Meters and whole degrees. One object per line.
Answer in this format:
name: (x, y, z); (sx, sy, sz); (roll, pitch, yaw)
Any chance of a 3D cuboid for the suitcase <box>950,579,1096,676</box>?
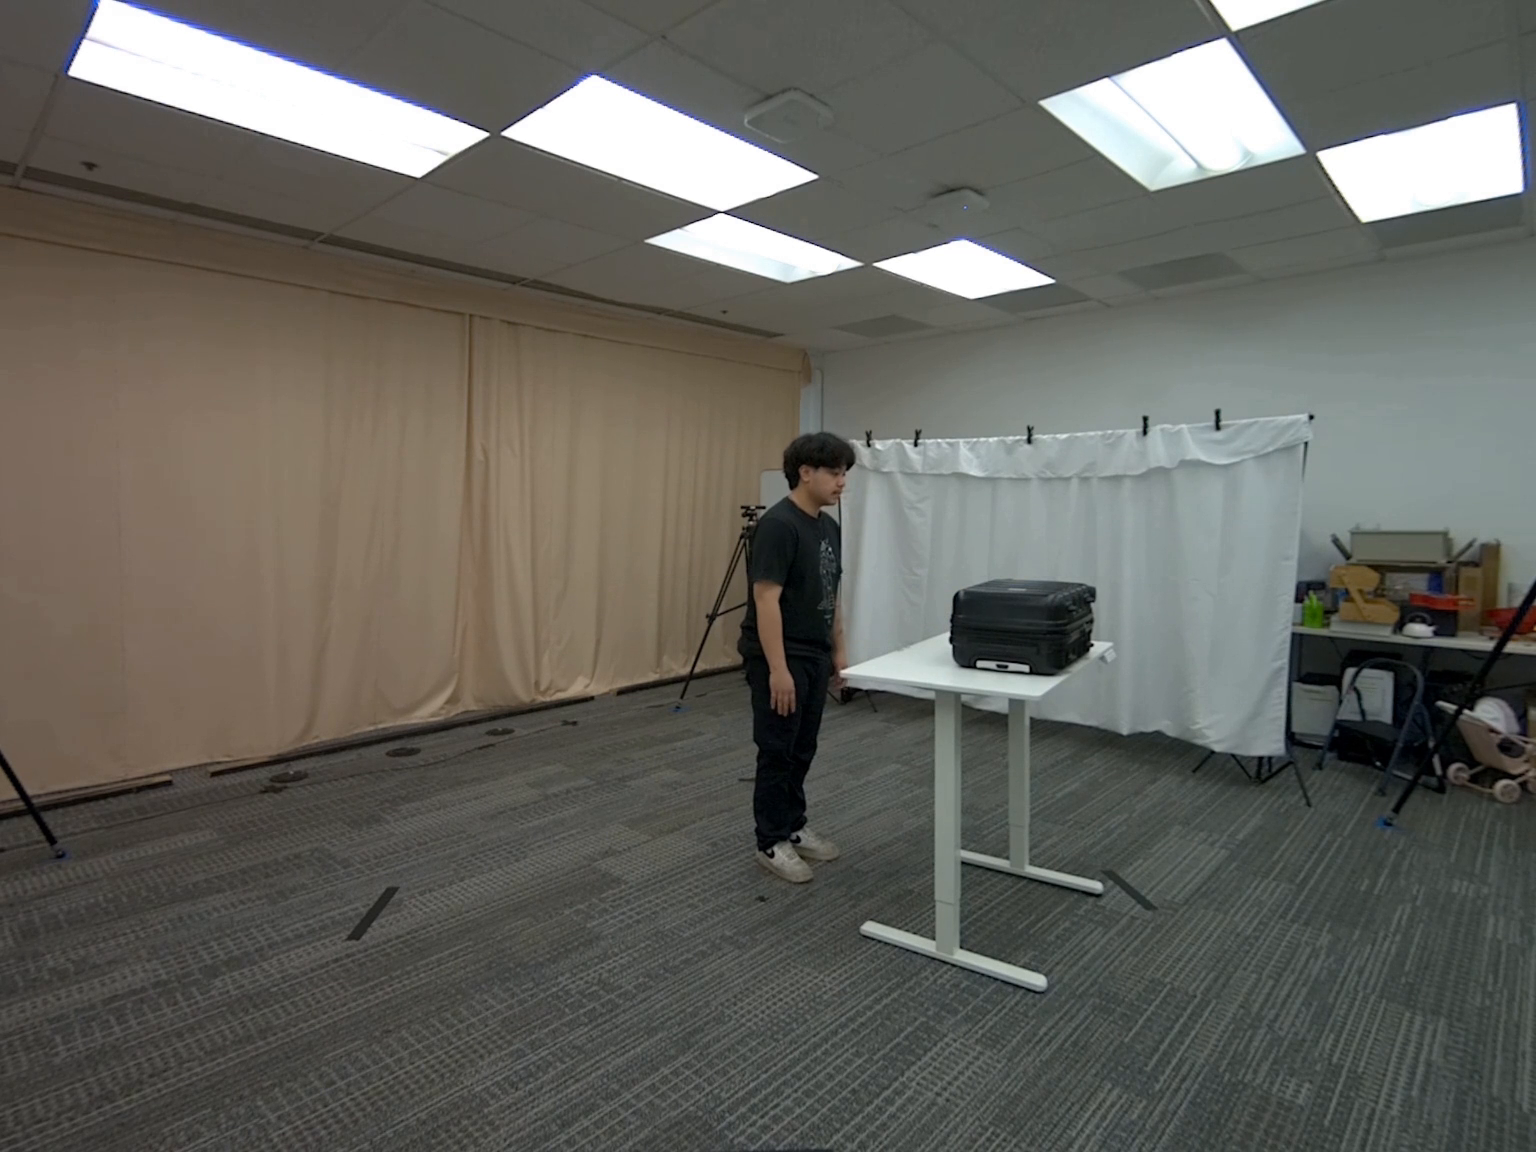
suitcase: (0.844, 0.160, 2.758); (0.387, 0.247, 0.534); (4, 6, 33)
